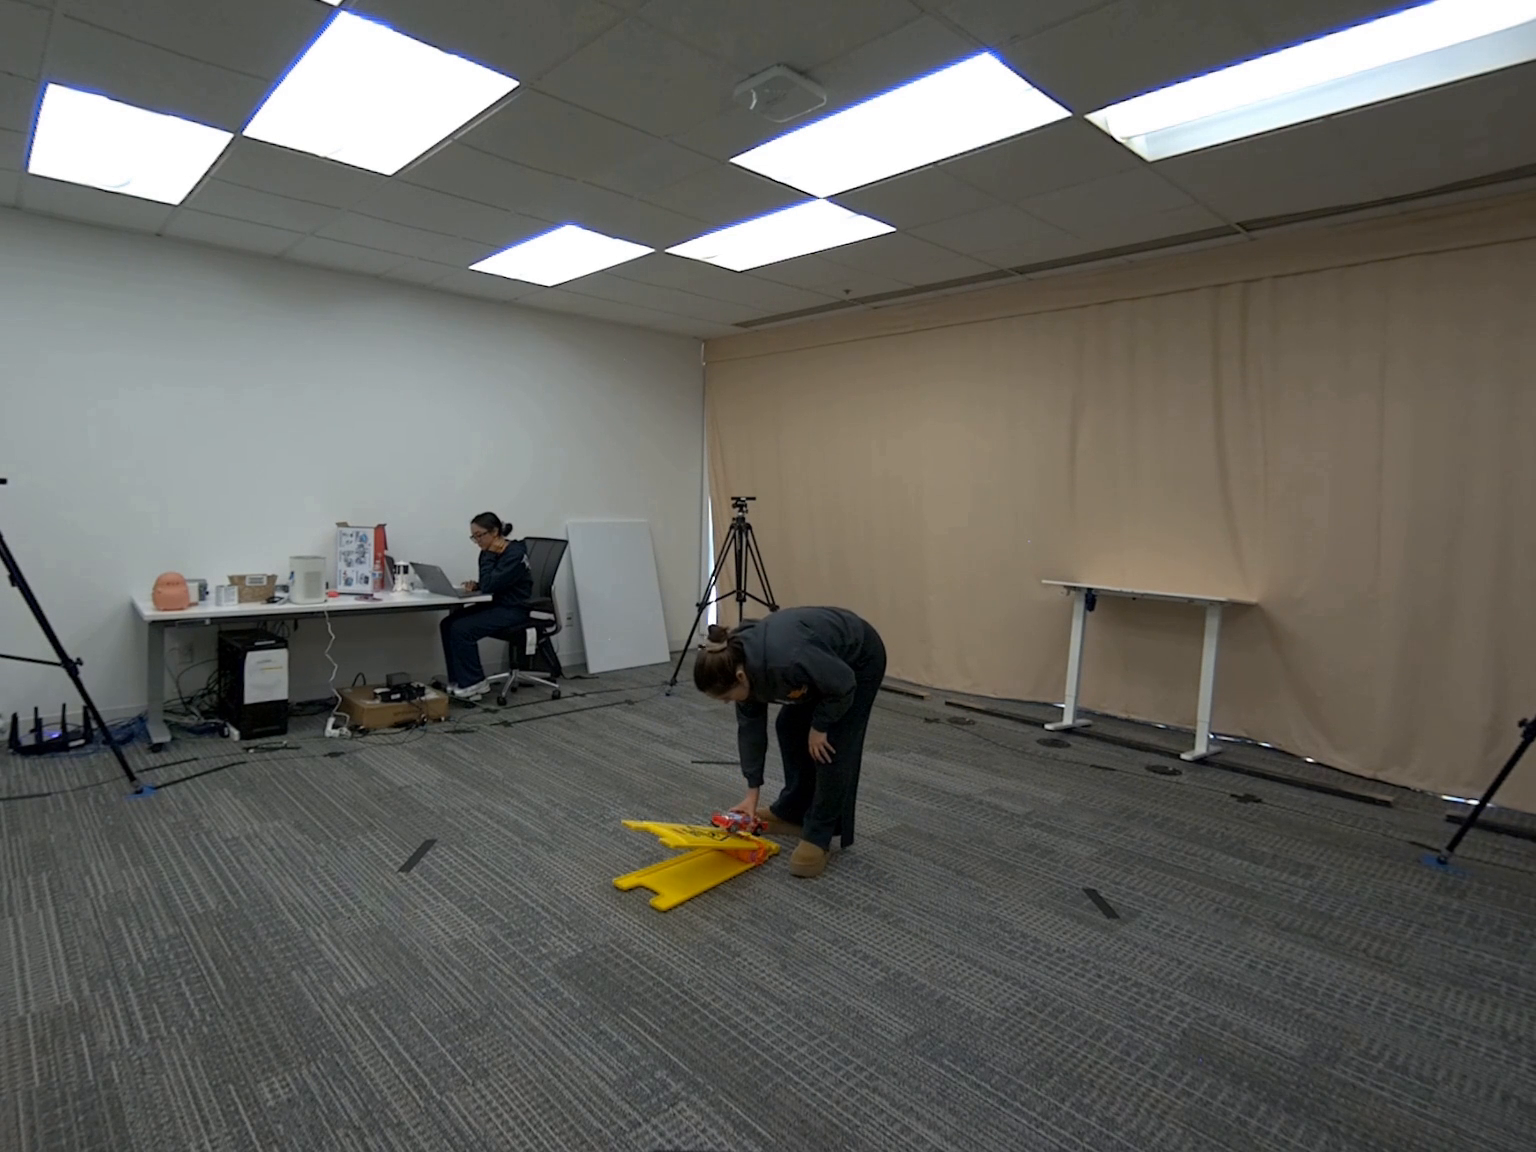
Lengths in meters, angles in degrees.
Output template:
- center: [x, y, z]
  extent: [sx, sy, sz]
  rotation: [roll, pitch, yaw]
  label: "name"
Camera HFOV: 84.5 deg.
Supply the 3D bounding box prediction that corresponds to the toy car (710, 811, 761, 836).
- center: [-0.114, 0.966, 3.293]
  extent: [0.133, 0.083, 0.248]
  rotation: [3, -4, 44]
  label: "toy car"
